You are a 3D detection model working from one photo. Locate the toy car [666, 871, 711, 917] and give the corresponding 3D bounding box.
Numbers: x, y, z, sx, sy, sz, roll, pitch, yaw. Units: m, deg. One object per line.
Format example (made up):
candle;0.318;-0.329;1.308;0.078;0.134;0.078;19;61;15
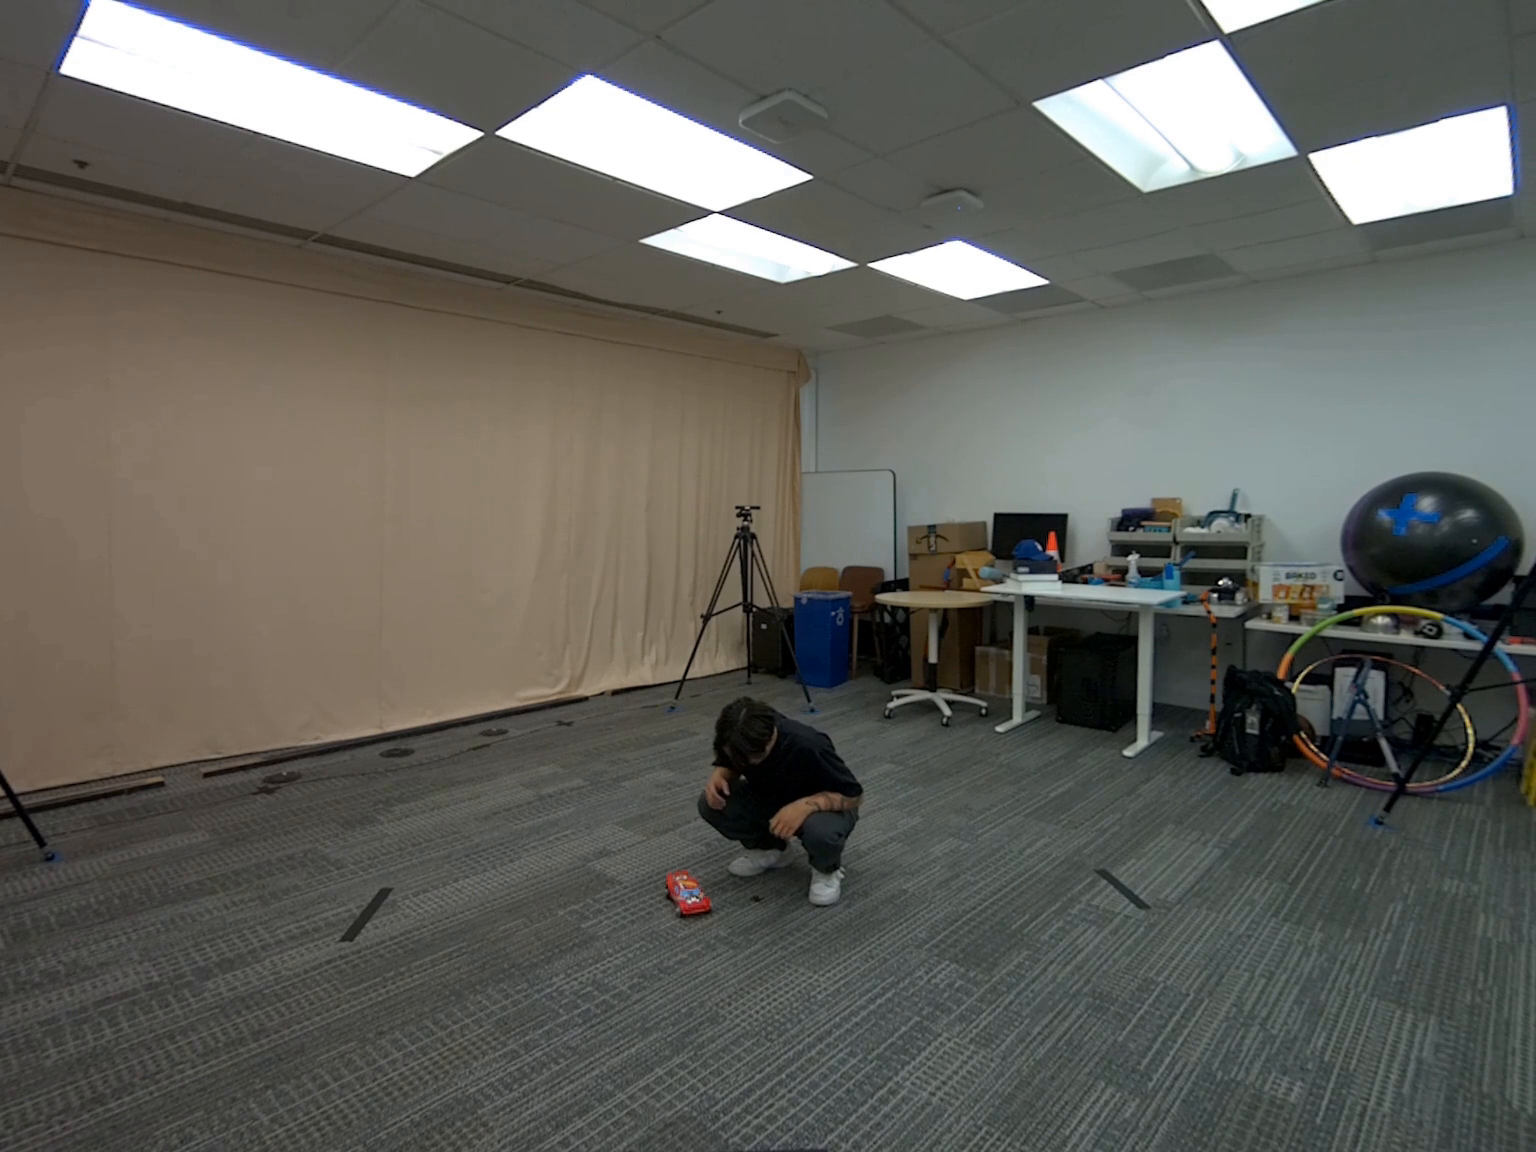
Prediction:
toy car;-0.284;1.126;2.963;0.128;0.082;0.262;-3;16;-20
